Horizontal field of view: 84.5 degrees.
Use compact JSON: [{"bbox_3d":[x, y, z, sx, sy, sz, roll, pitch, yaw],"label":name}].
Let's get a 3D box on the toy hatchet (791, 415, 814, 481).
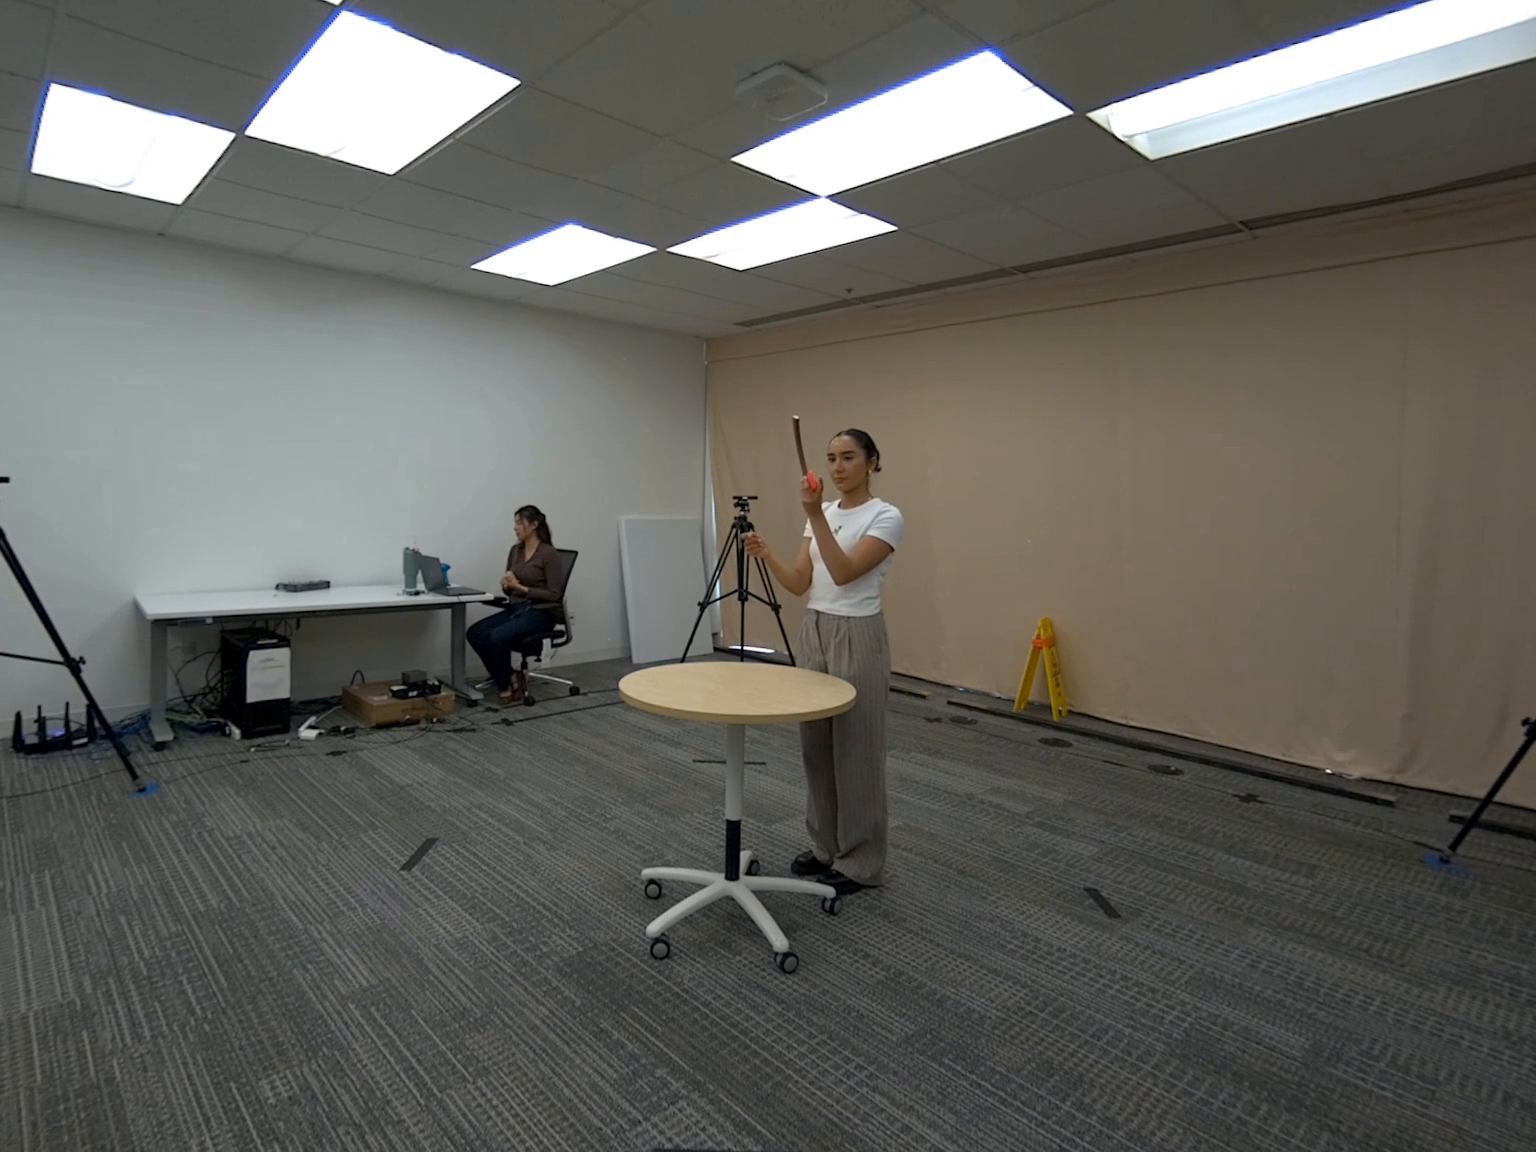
[{"bbox_3d":[0.113,-0.384,2.760,0.029,0.266,0.133,-12,17,-9],"label":"toy hatchet"}]
